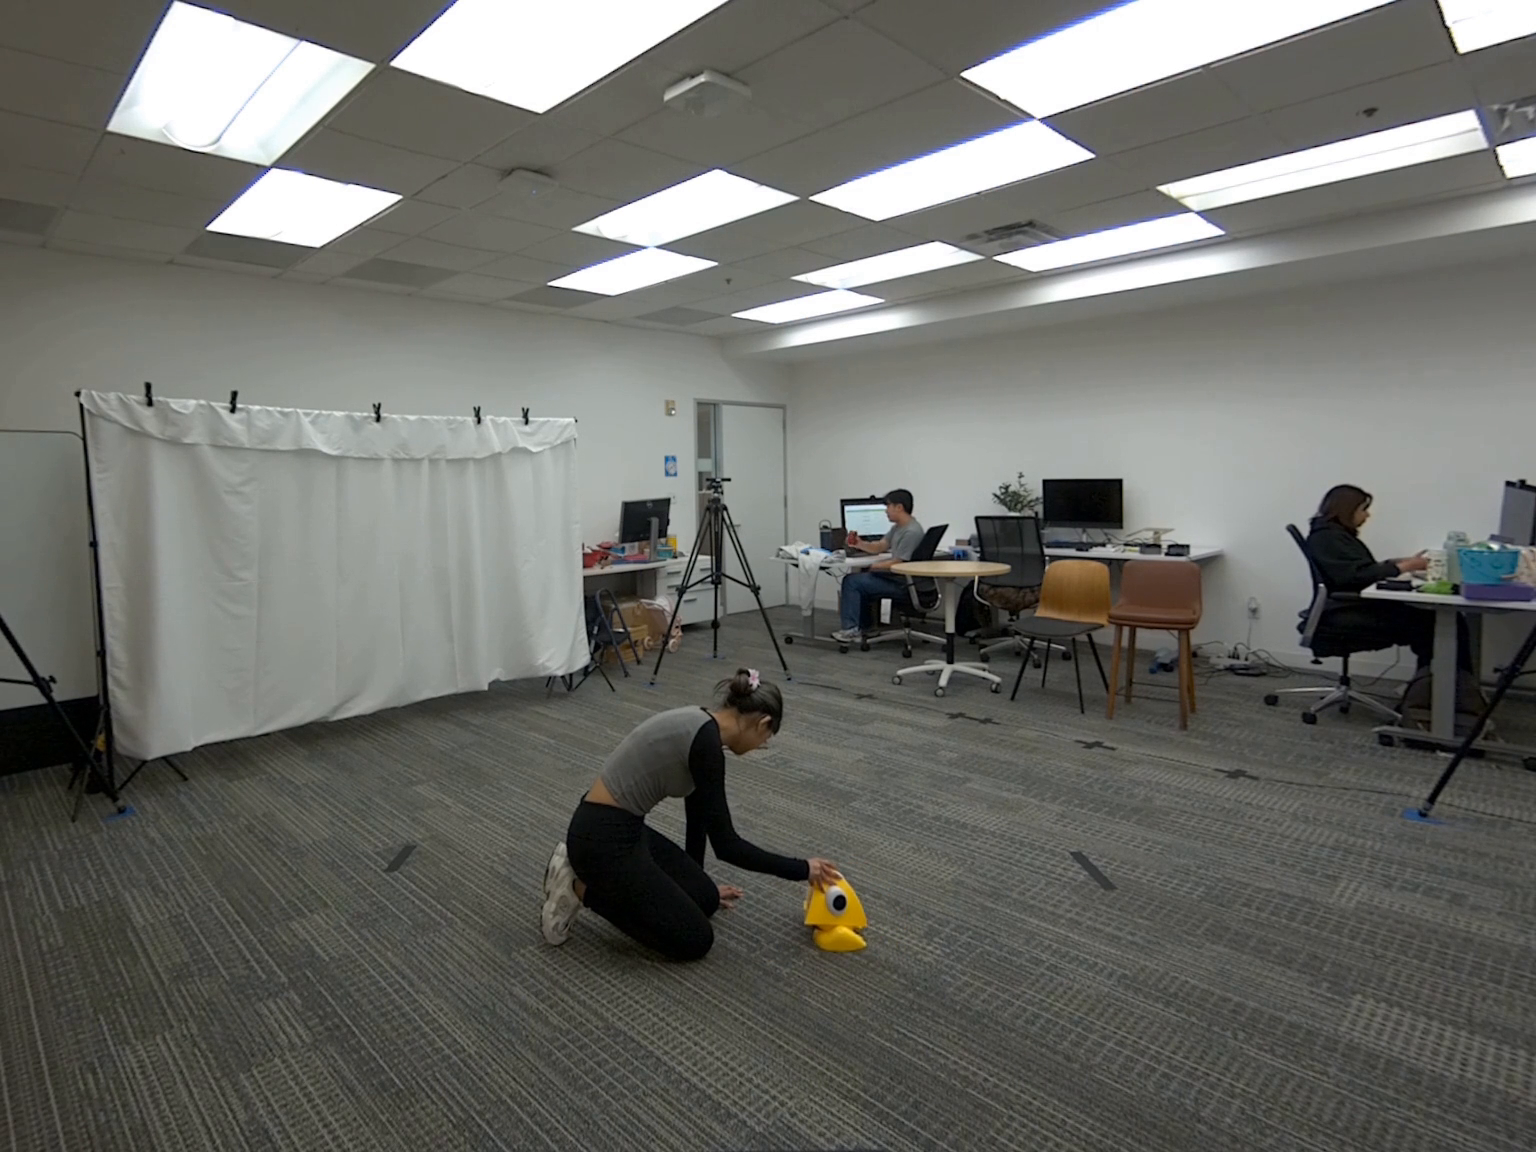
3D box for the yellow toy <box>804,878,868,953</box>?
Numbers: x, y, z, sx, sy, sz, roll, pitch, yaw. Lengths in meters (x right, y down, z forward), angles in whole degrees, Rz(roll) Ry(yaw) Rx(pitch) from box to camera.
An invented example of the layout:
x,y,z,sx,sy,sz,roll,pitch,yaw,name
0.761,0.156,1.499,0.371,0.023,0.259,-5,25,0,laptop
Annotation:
x,y,z,sx,sy,sz,roll,pitch,yaw,name
0.210,0.977,2.610,0.194,0.230,0.204,-1,5,5,yellow toy
